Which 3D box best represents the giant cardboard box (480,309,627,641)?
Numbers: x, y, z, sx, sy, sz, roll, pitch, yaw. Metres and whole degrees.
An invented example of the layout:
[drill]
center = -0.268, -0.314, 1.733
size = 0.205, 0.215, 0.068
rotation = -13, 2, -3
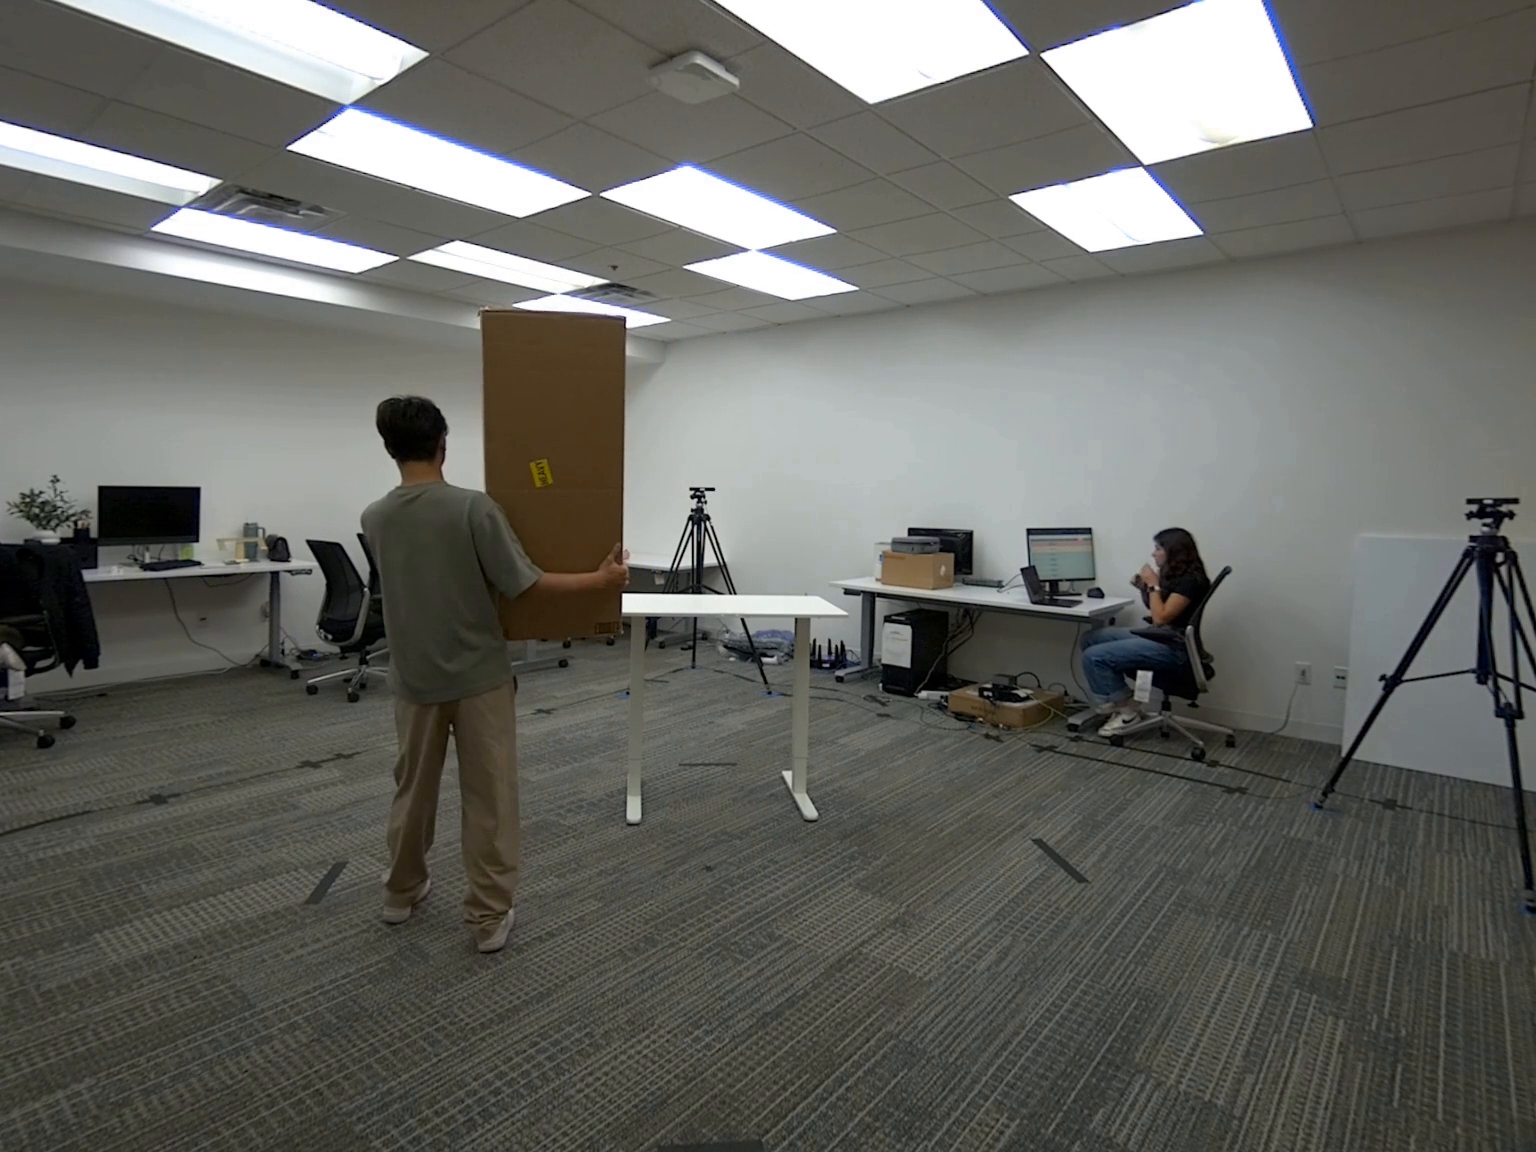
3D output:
[giant cardboard box]
center = -0.739, -0.369, 2.872
size = 0.420, 1.012, 0.594
rotation = -1, 16, -15
